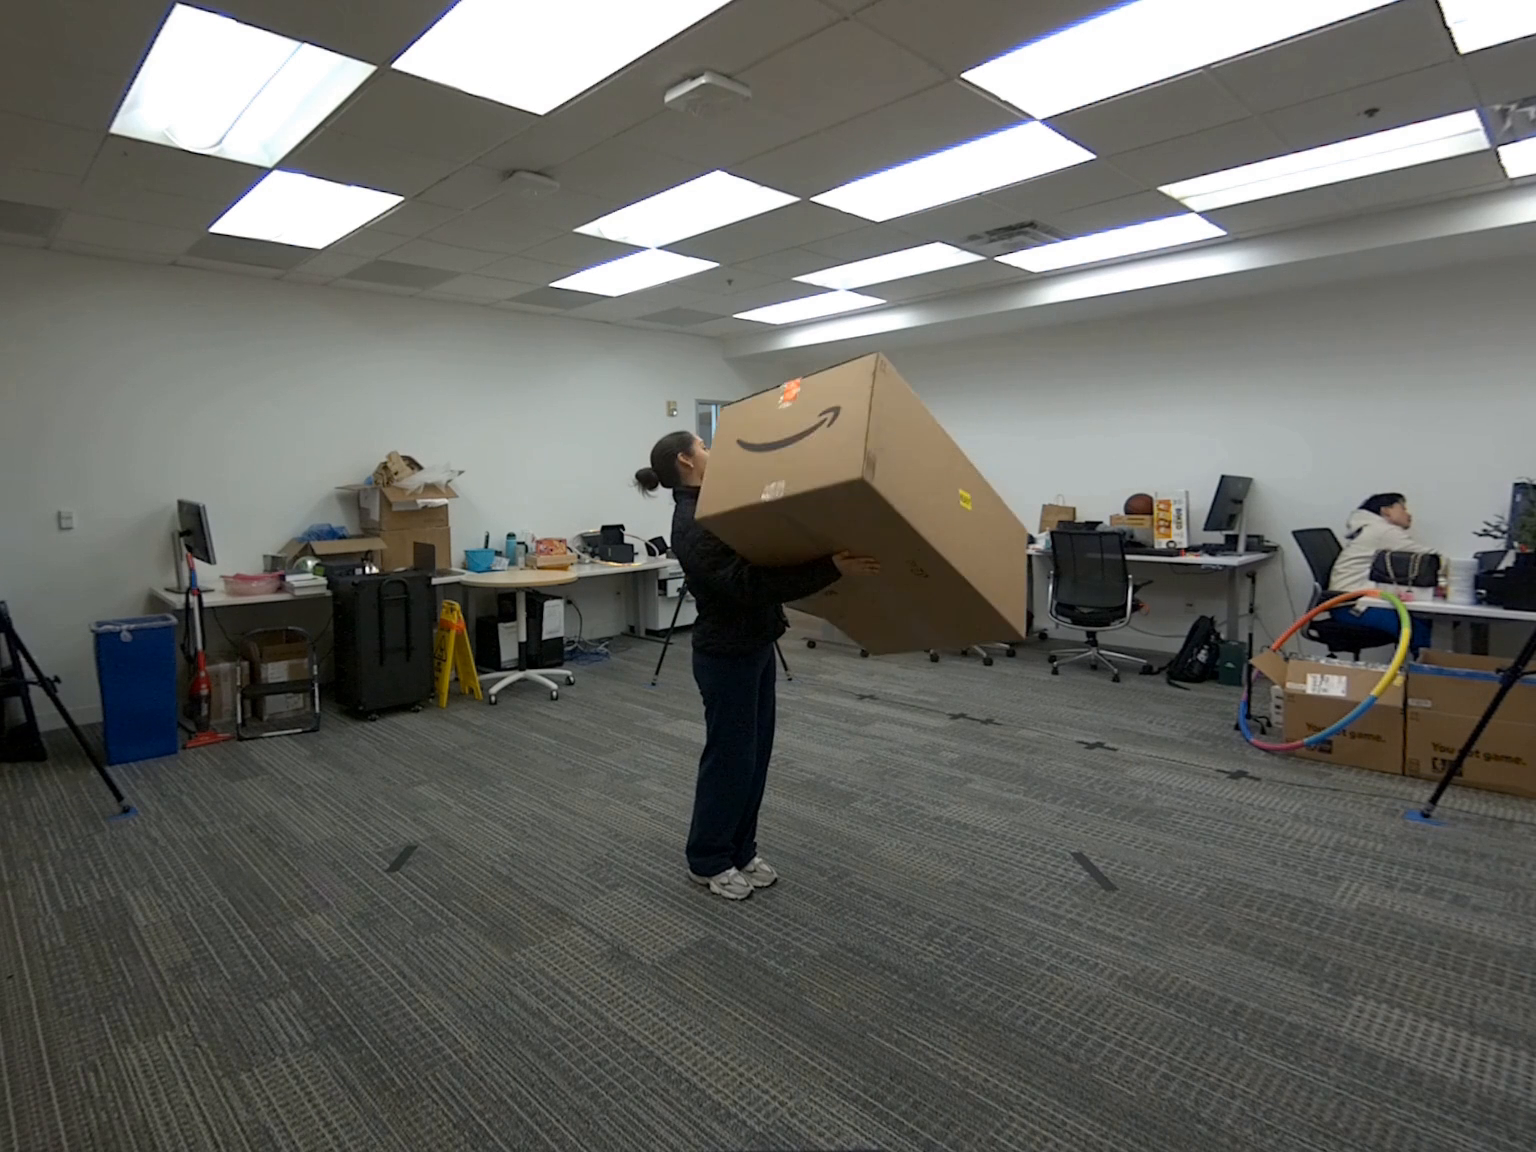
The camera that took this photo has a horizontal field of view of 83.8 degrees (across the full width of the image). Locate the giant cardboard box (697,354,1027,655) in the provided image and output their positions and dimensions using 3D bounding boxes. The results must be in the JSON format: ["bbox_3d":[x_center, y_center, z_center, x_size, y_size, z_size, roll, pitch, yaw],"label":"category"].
[{"bbox_3d":[0.336,-0.157,2.743,0.590,0.433,0.986,-11,-35,38],"label":"giant cardboard box"}]
